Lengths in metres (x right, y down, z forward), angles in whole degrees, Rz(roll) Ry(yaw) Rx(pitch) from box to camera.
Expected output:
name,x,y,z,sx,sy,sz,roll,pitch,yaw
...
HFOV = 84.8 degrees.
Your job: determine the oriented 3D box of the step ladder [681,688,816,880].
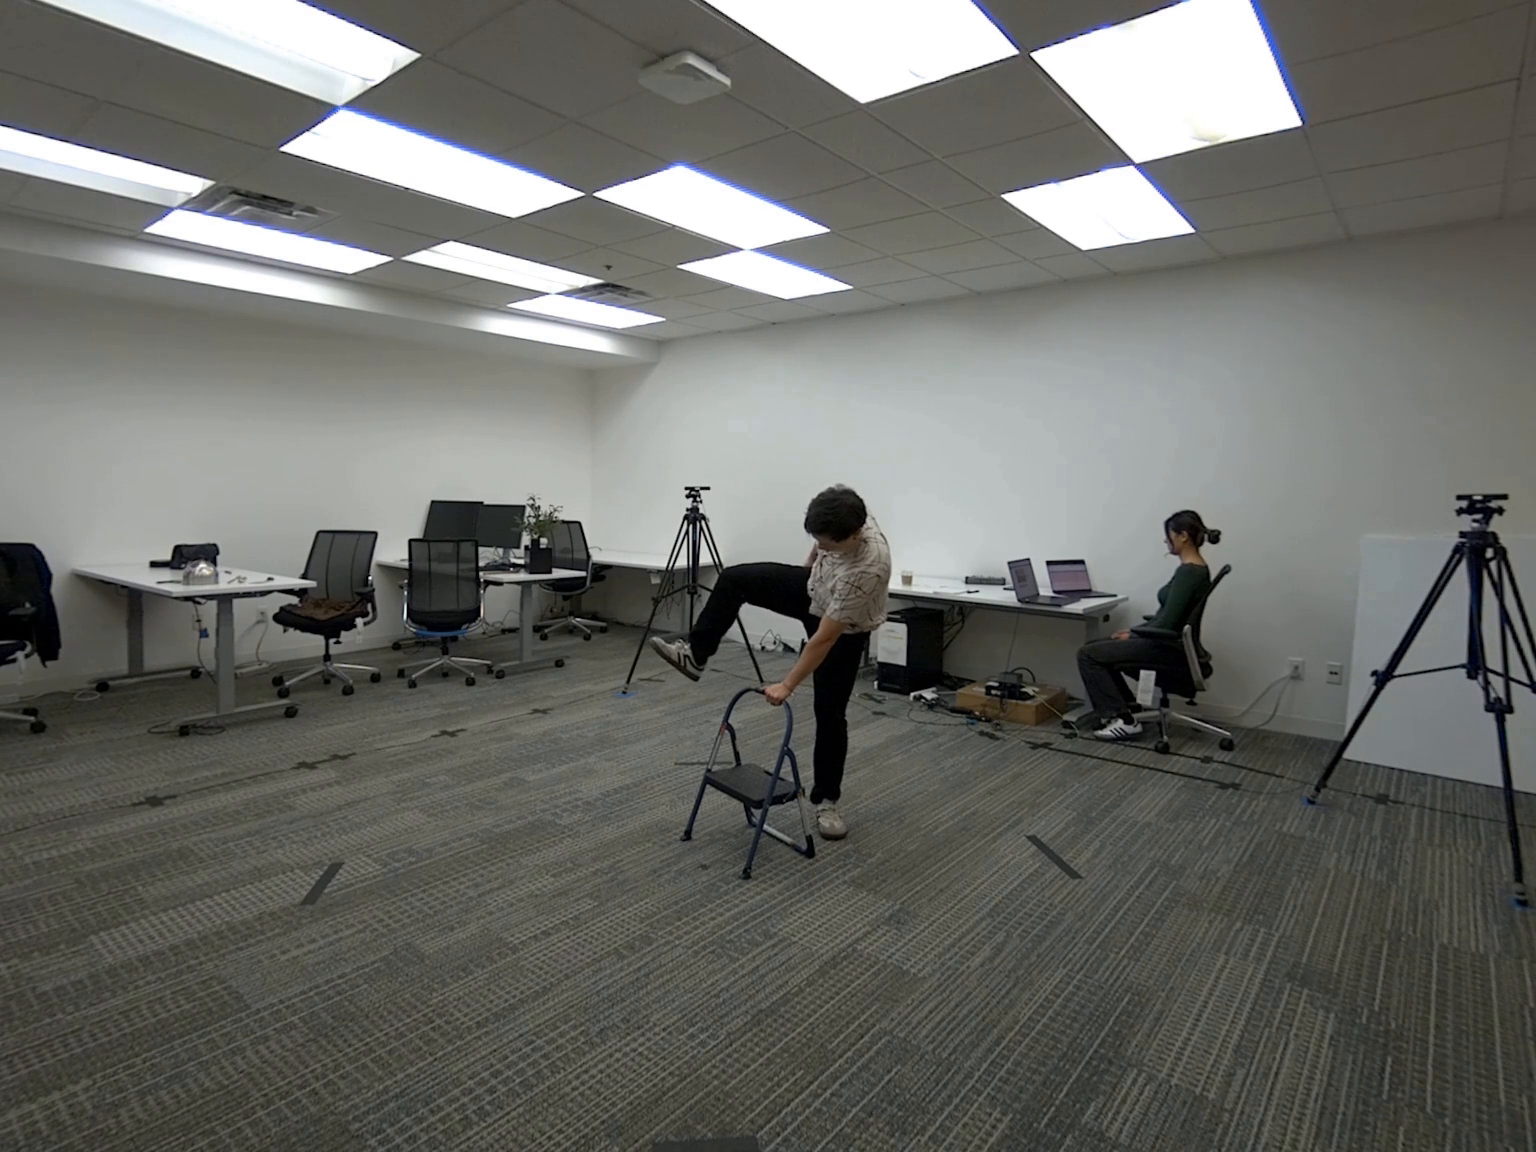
name,x,y,z,sx,sy,sz,roll,pitch,yaw
step ladder,-0.080,0.743,3.271,0.339,0.604,0.445,-1,4,-37
